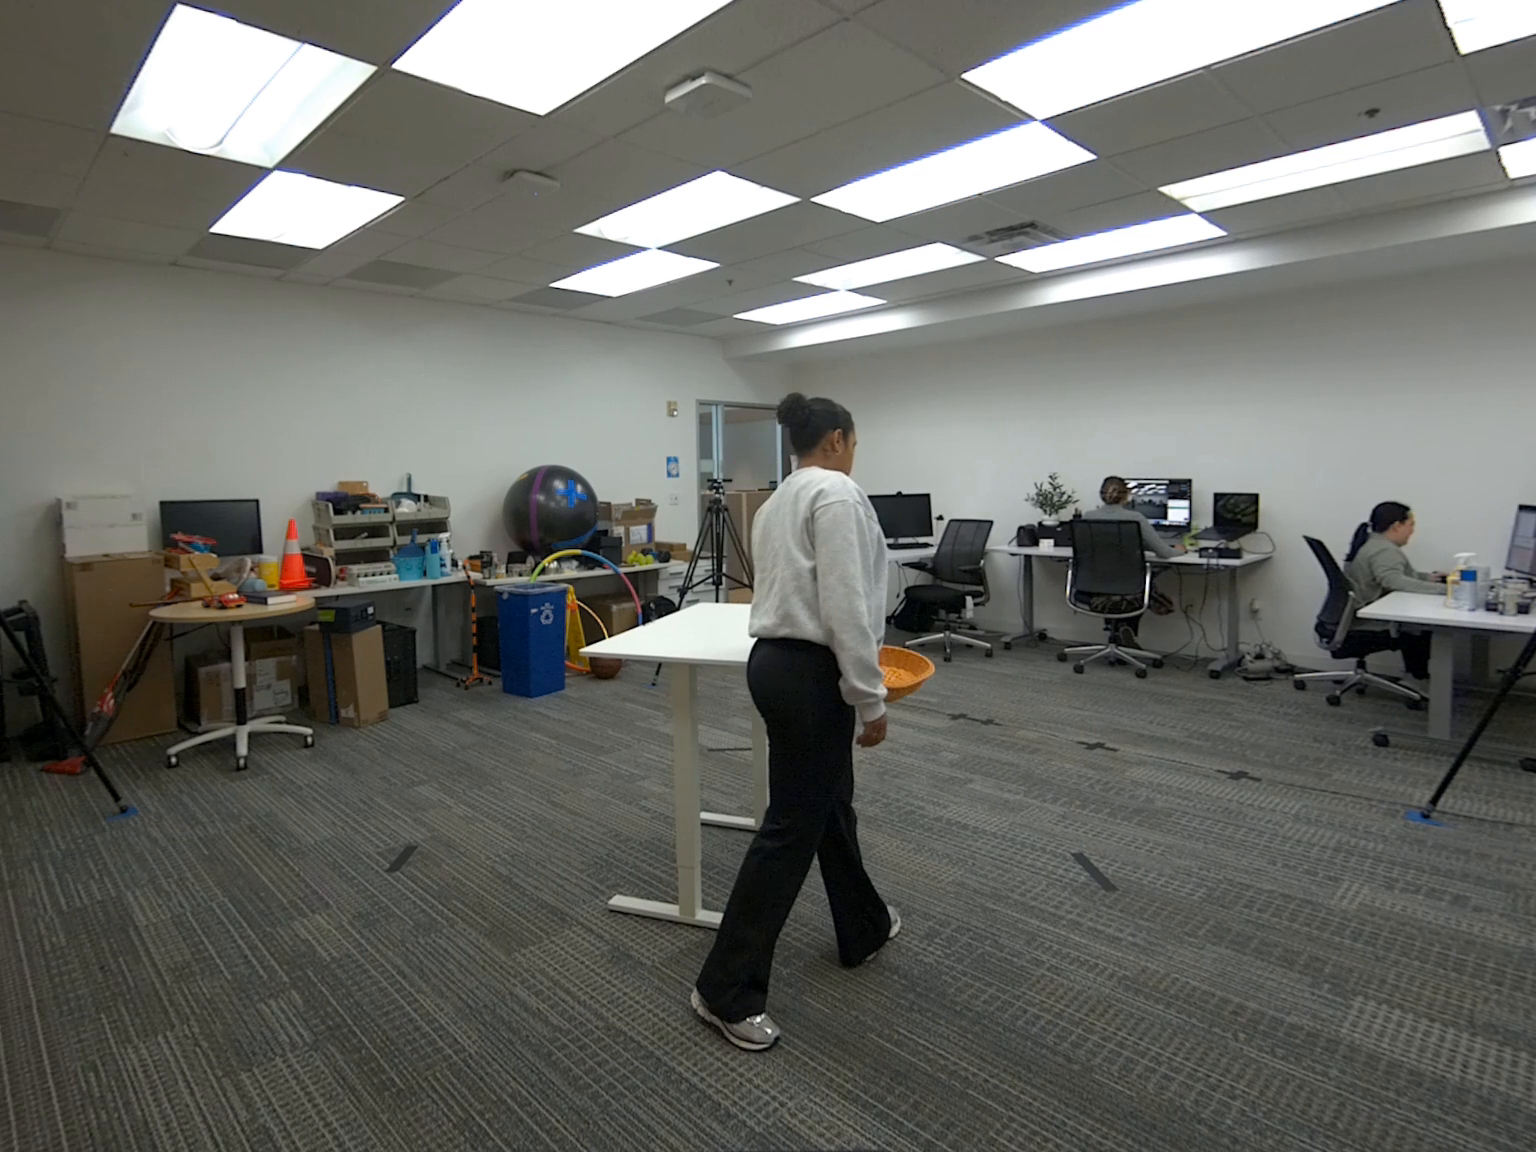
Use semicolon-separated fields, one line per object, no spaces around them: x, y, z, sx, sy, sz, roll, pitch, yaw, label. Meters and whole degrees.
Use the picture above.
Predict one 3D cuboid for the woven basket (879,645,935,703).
0.355;0.302;2.578;0.261;0.072;0.343;16;20;36;woven basket
